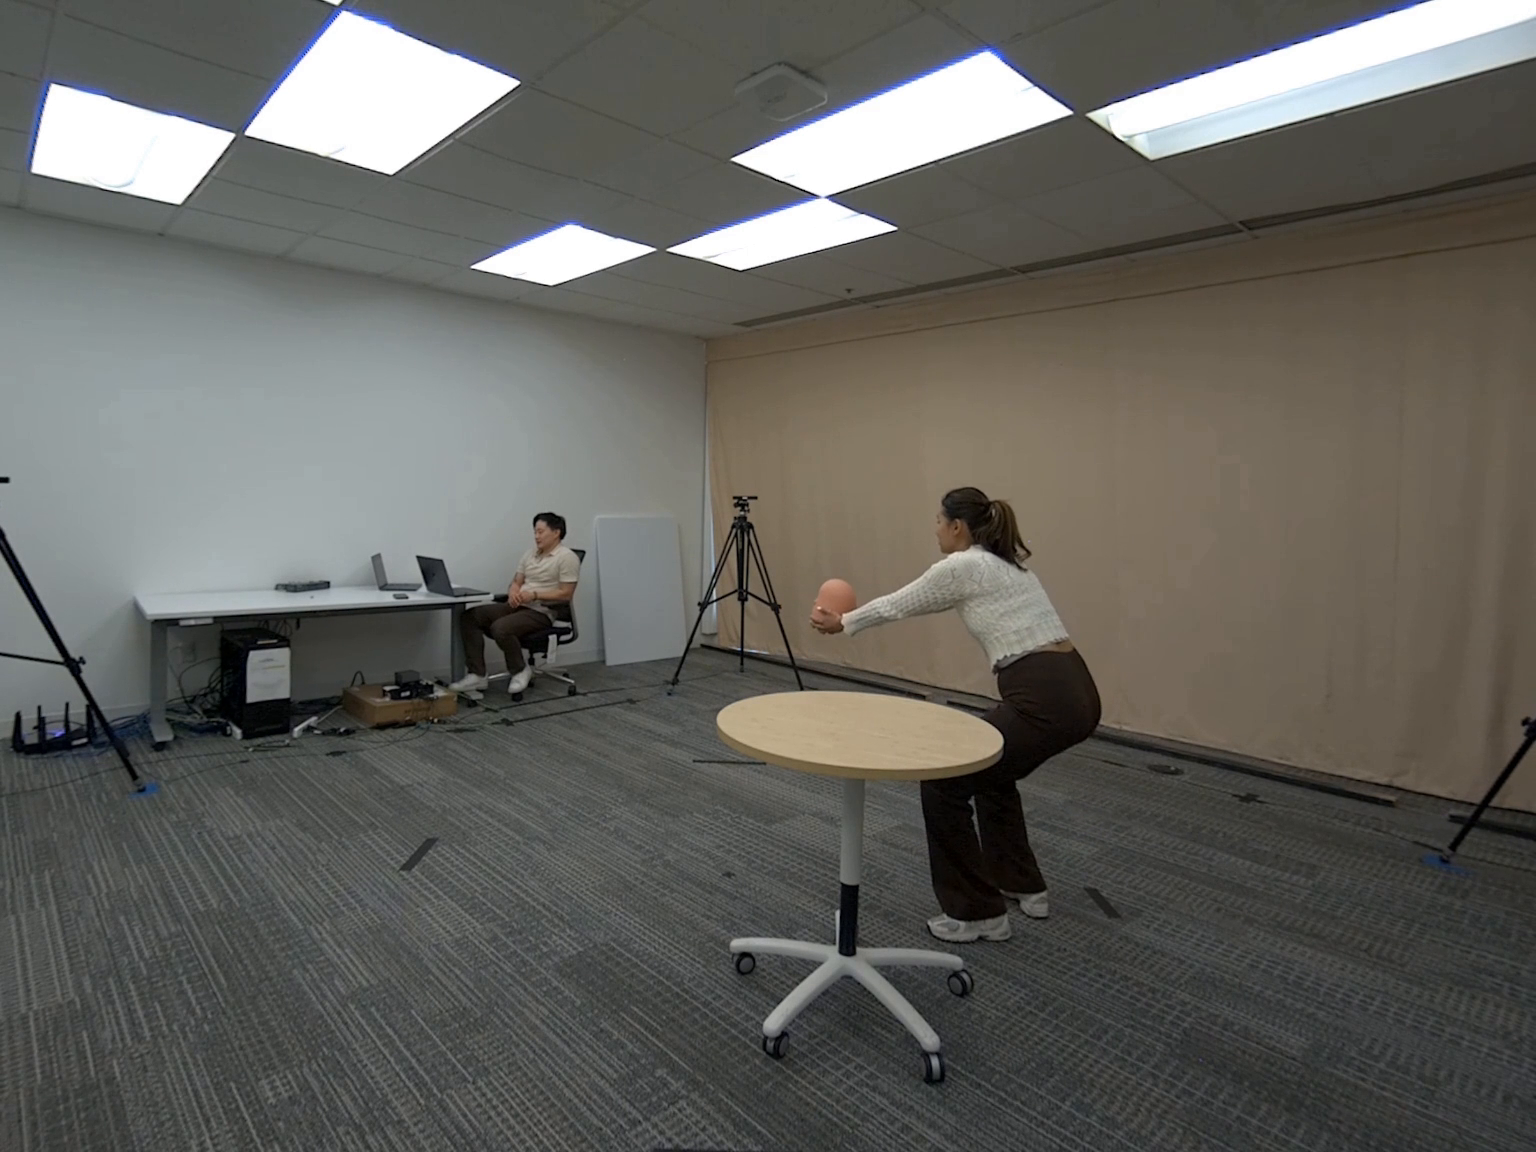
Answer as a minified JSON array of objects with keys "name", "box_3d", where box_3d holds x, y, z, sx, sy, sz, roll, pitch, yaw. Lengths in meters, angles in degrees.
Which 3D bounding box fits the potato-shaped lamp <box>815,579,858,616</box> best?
[{"name":"potato-shaped lamp","box_3d":[0.251,0.111,3.268,0.161,0.198,0.176,0,3,-41]}]
